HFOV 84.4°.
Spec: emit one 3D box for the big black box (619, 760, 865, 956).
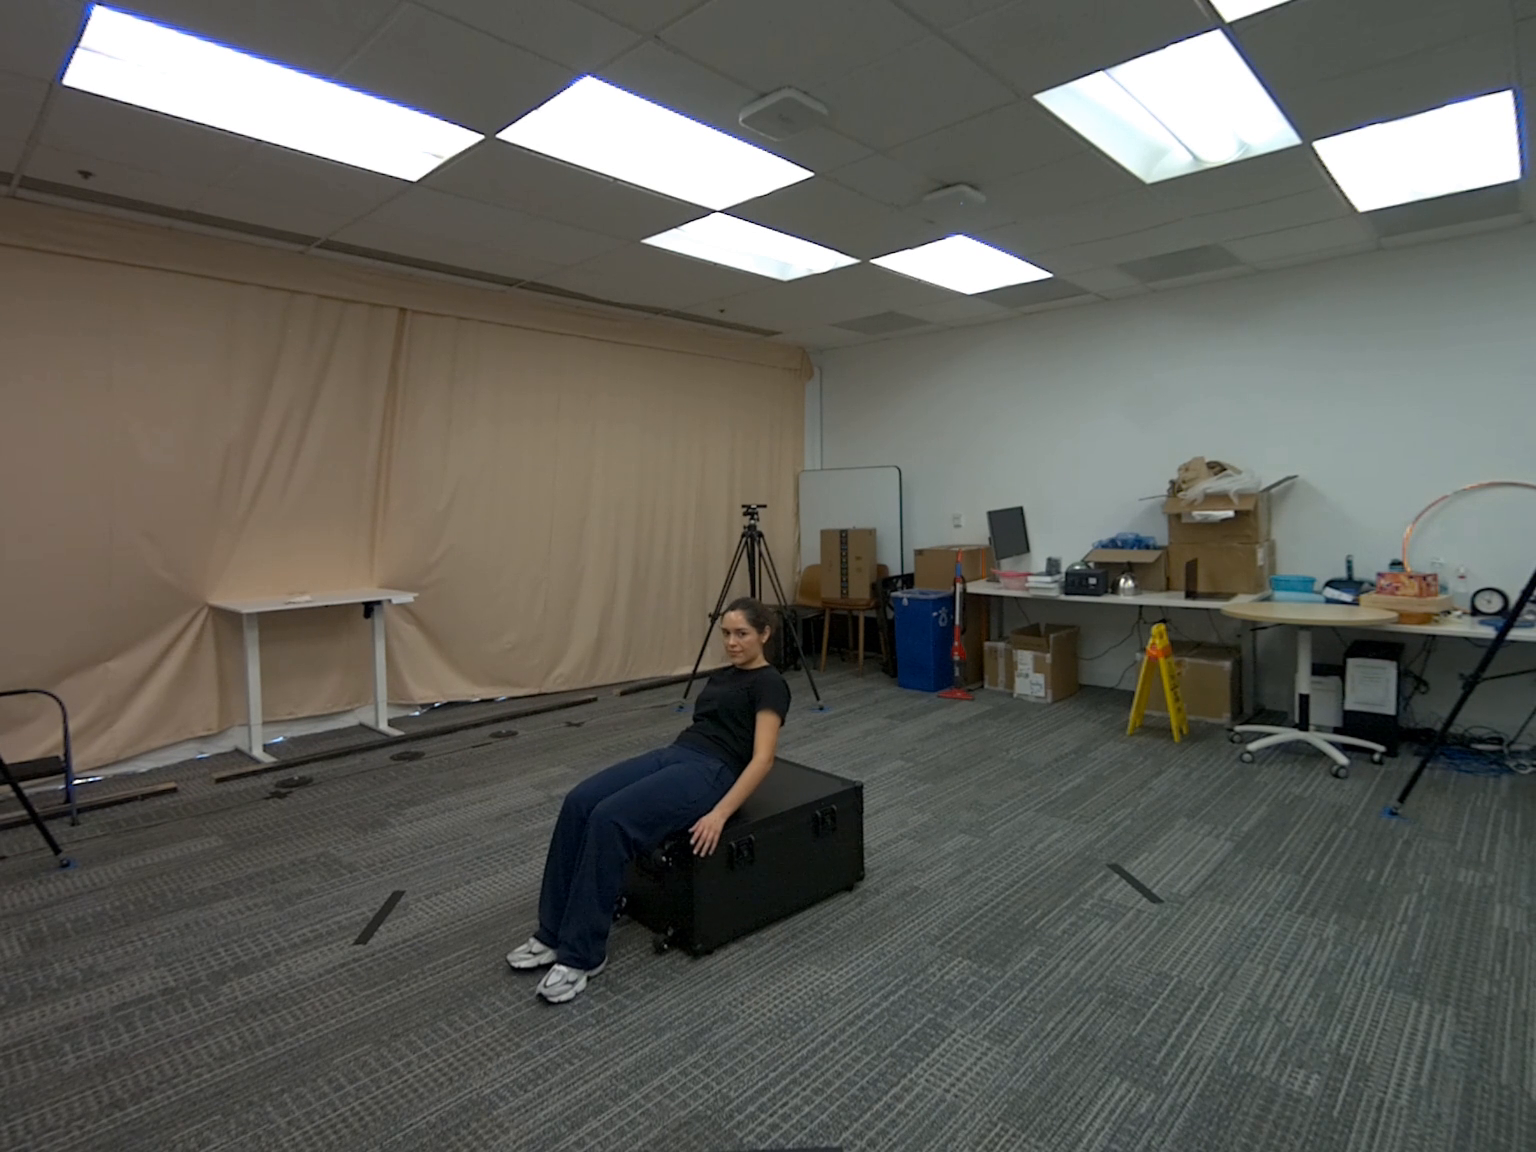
[{"bbox_3d":[-0.058,0.952,3.004,0.836,0.395,0.538,-7,7,-40],"label":"big black box"}]
